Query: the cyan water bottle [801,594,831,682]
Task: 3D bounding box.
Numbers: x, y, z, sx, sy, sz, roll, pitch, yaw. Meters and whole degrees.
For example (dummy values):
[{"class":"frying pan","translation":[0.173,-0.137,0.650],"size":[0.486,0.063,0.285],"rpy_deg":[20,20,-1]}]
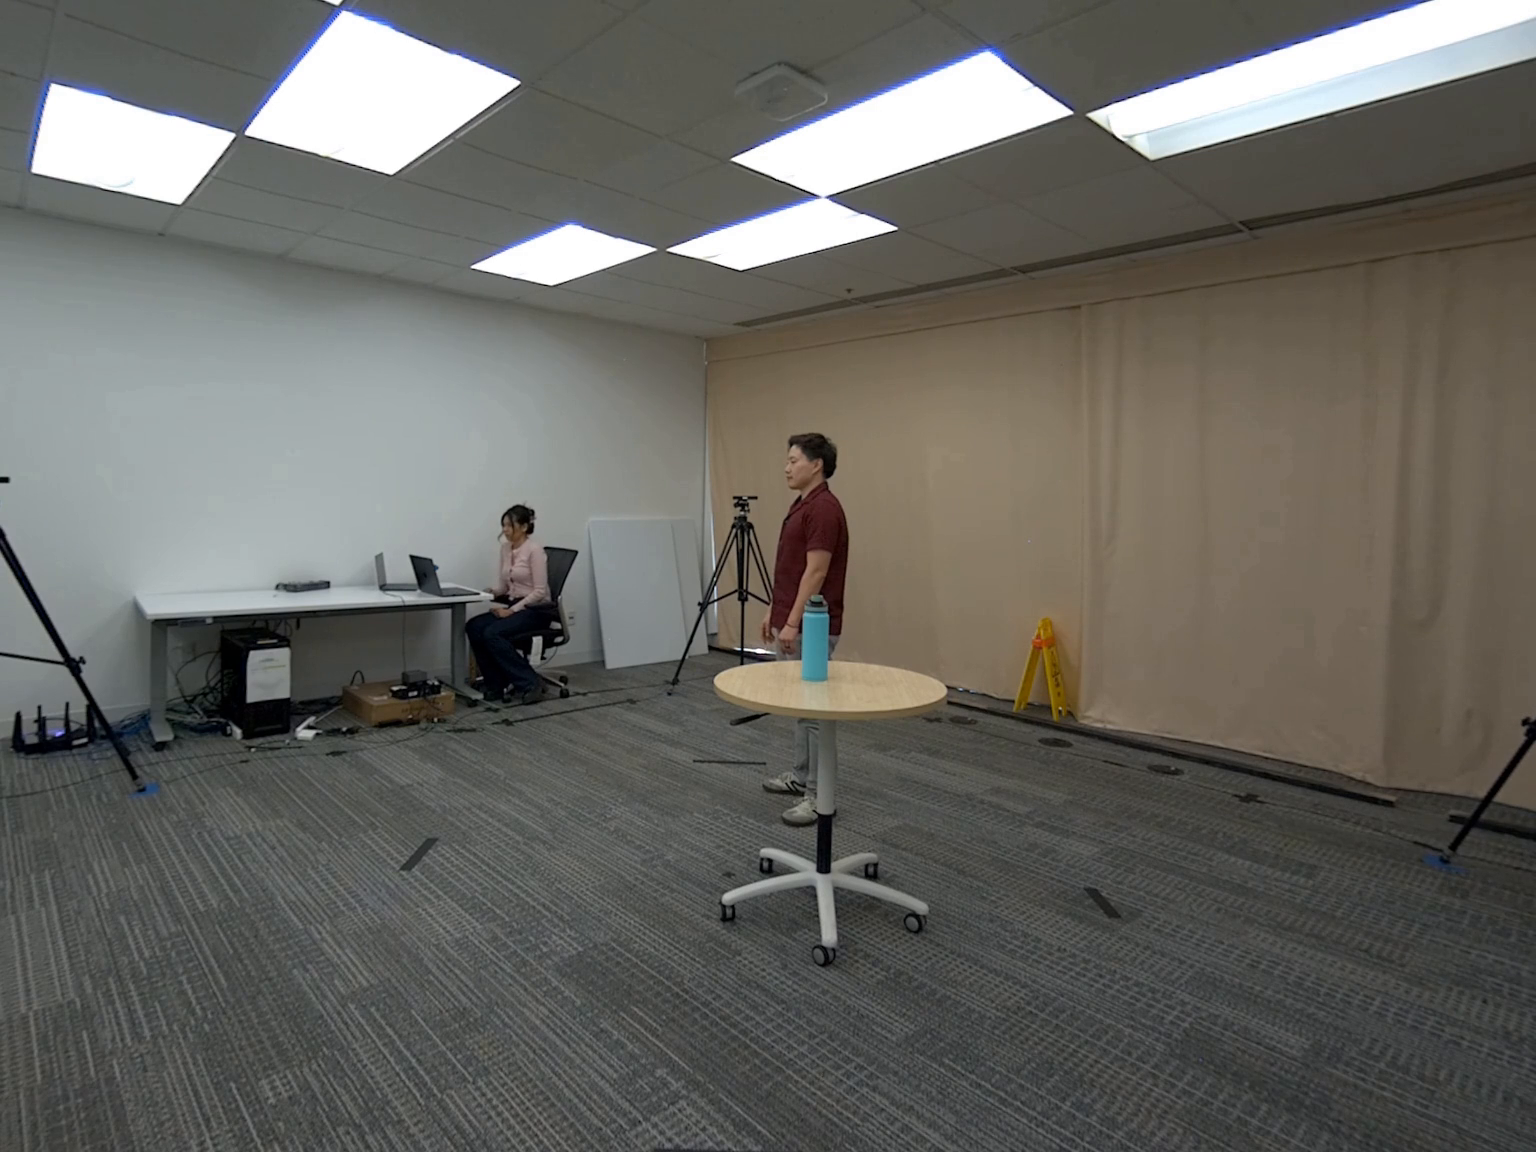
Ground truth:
[{"class":"cyan water bottle","translation":[0.153,0.211,2.852],"size":[0.092,0.283,0.092],"rpy_deg":[0,1,-1]}]
